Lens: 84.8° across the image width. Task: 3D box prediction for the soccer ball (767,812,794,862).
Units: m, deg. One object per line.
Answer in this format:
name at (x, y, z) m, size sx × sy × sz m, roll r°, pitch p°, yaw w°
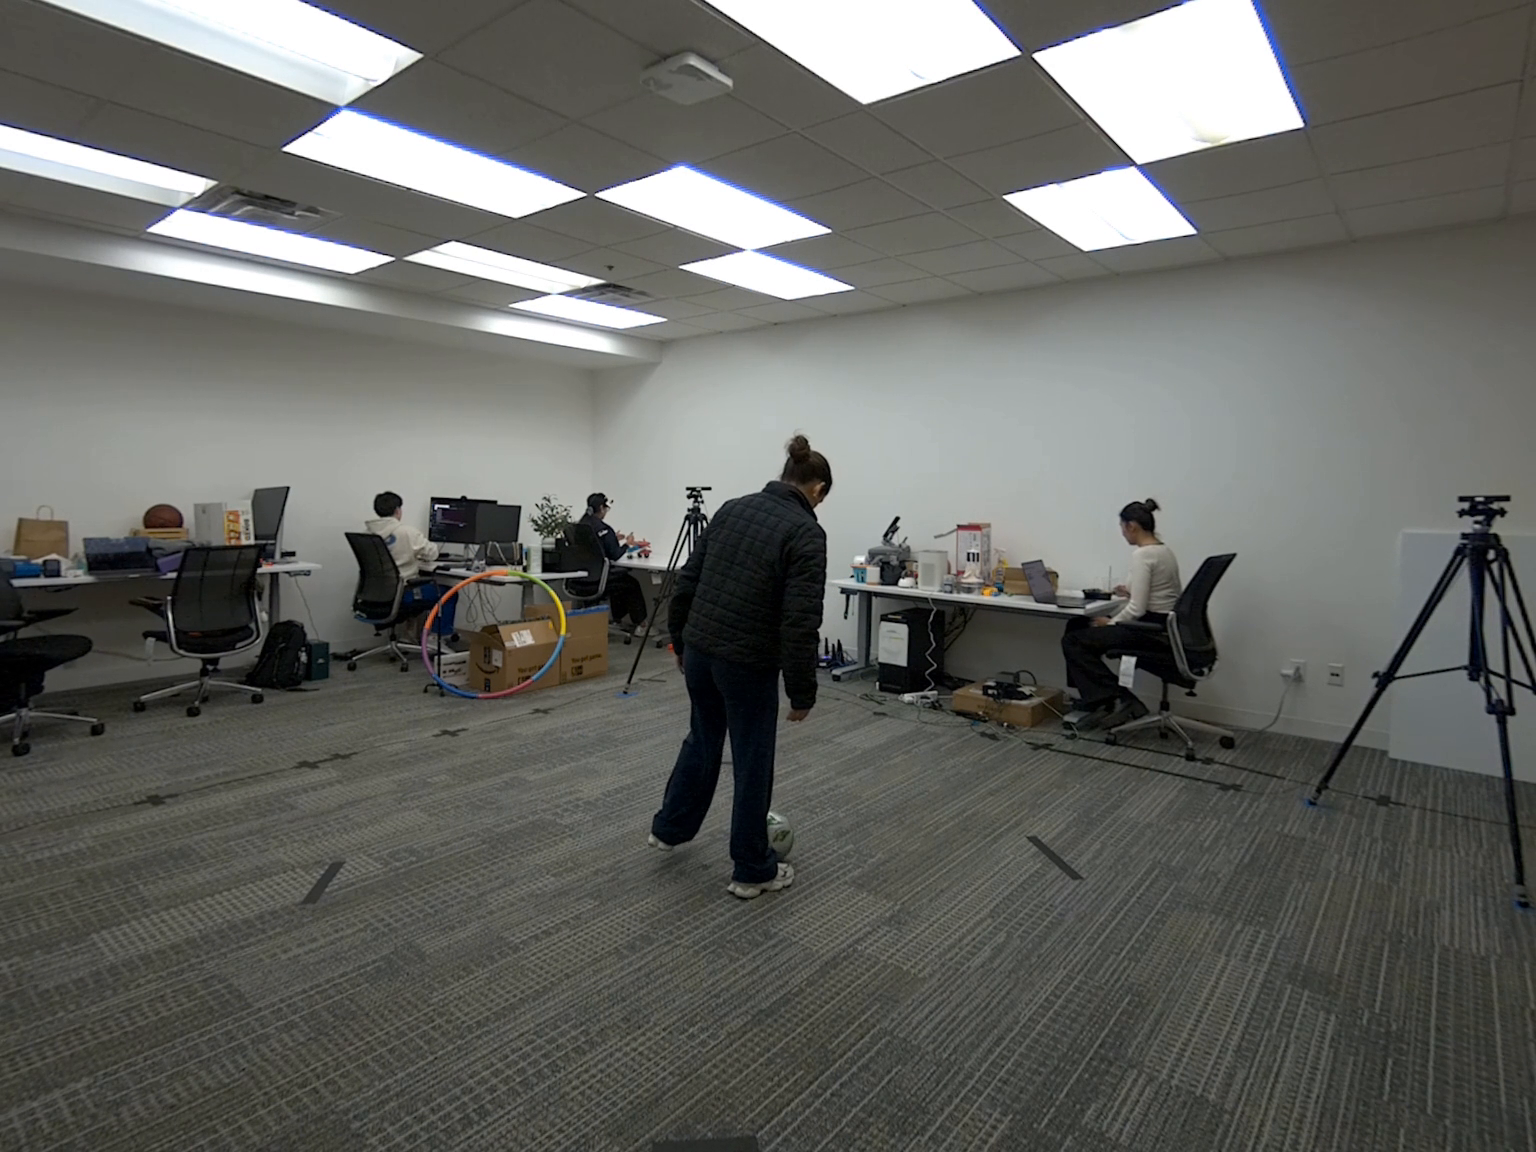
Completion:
soccer ball at (-0.003, 0.970, 3.176) m, size 0.187 × 0.187 × 0.188 m, roll 1°, pitch 4°, yaw -2°
